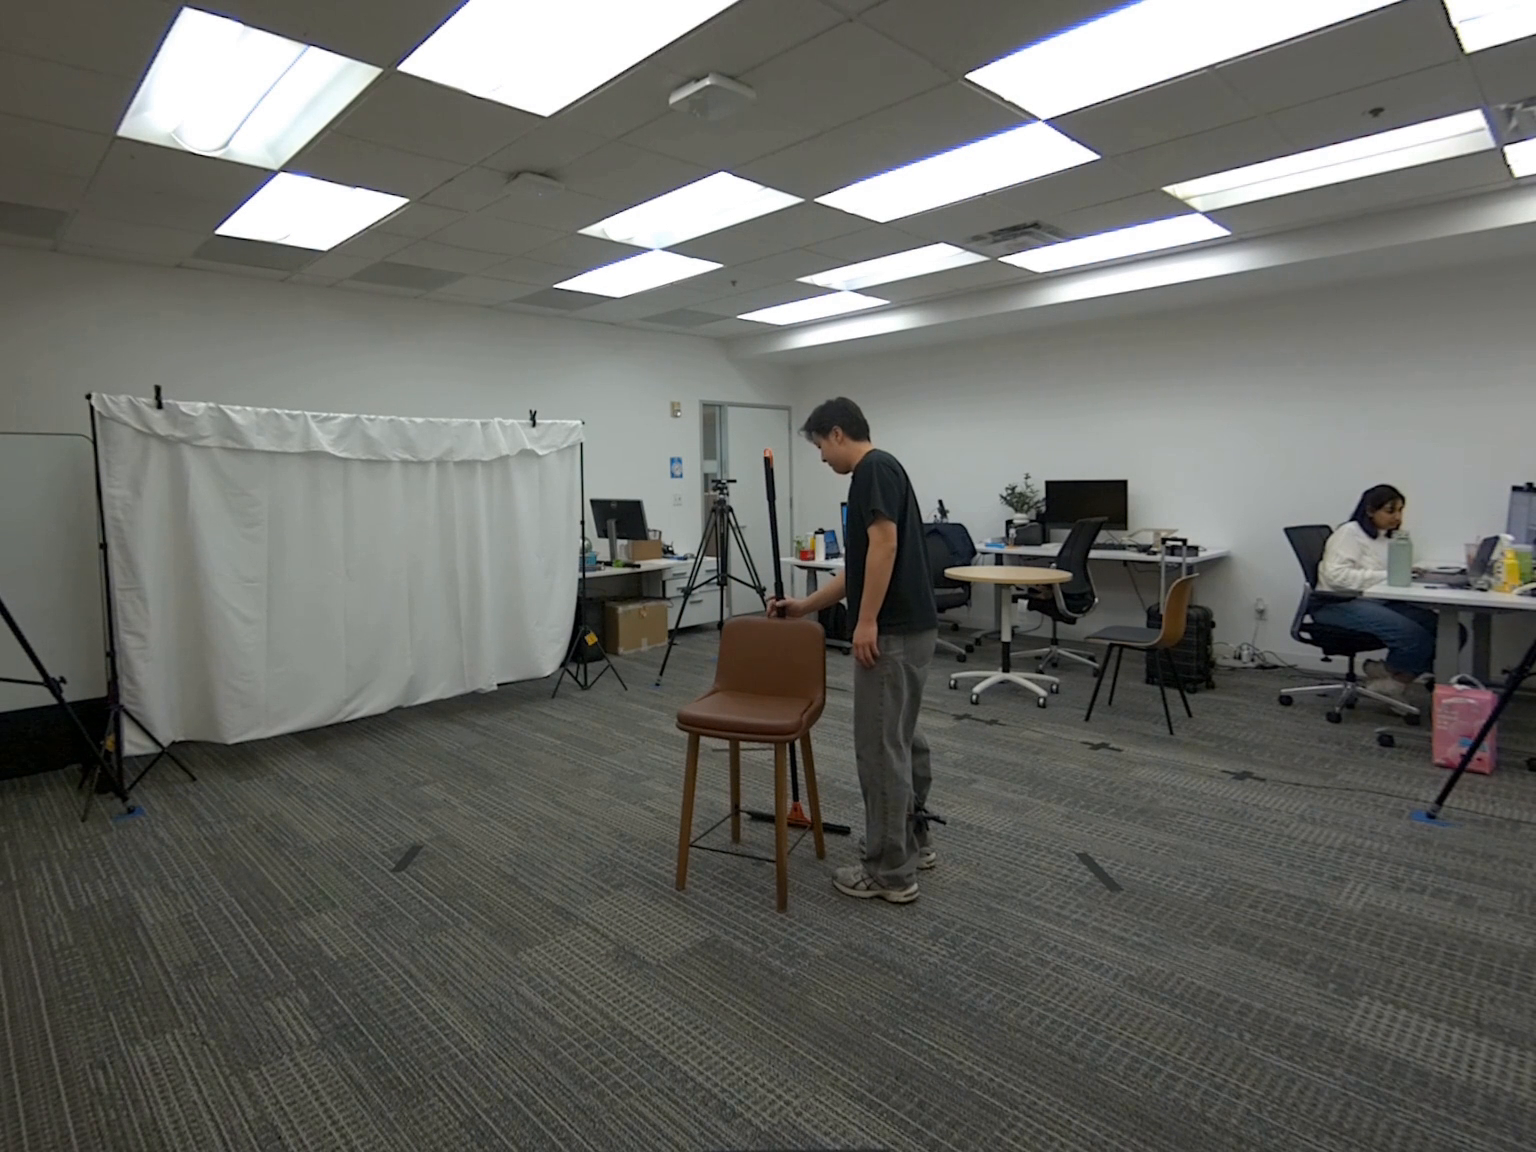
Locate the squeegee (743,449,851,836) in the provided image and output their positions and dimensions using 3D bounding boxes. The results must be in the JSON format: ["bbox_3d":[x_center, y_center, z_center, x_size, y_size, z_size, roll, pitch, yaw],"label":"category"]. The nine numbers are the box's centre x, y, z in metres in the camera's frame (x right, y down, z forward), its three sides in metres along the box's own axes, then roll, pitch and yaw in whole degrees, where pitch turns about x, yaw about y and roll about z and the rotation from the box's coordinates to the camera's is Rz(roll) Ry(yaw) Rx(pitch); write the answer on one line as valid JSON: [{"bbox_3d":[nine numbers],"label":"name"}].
[{"bbox_3d":[0.048,0.281,3.281,0.446,1.519,0.052,-2,13,21],"label":"squeegee"}]
